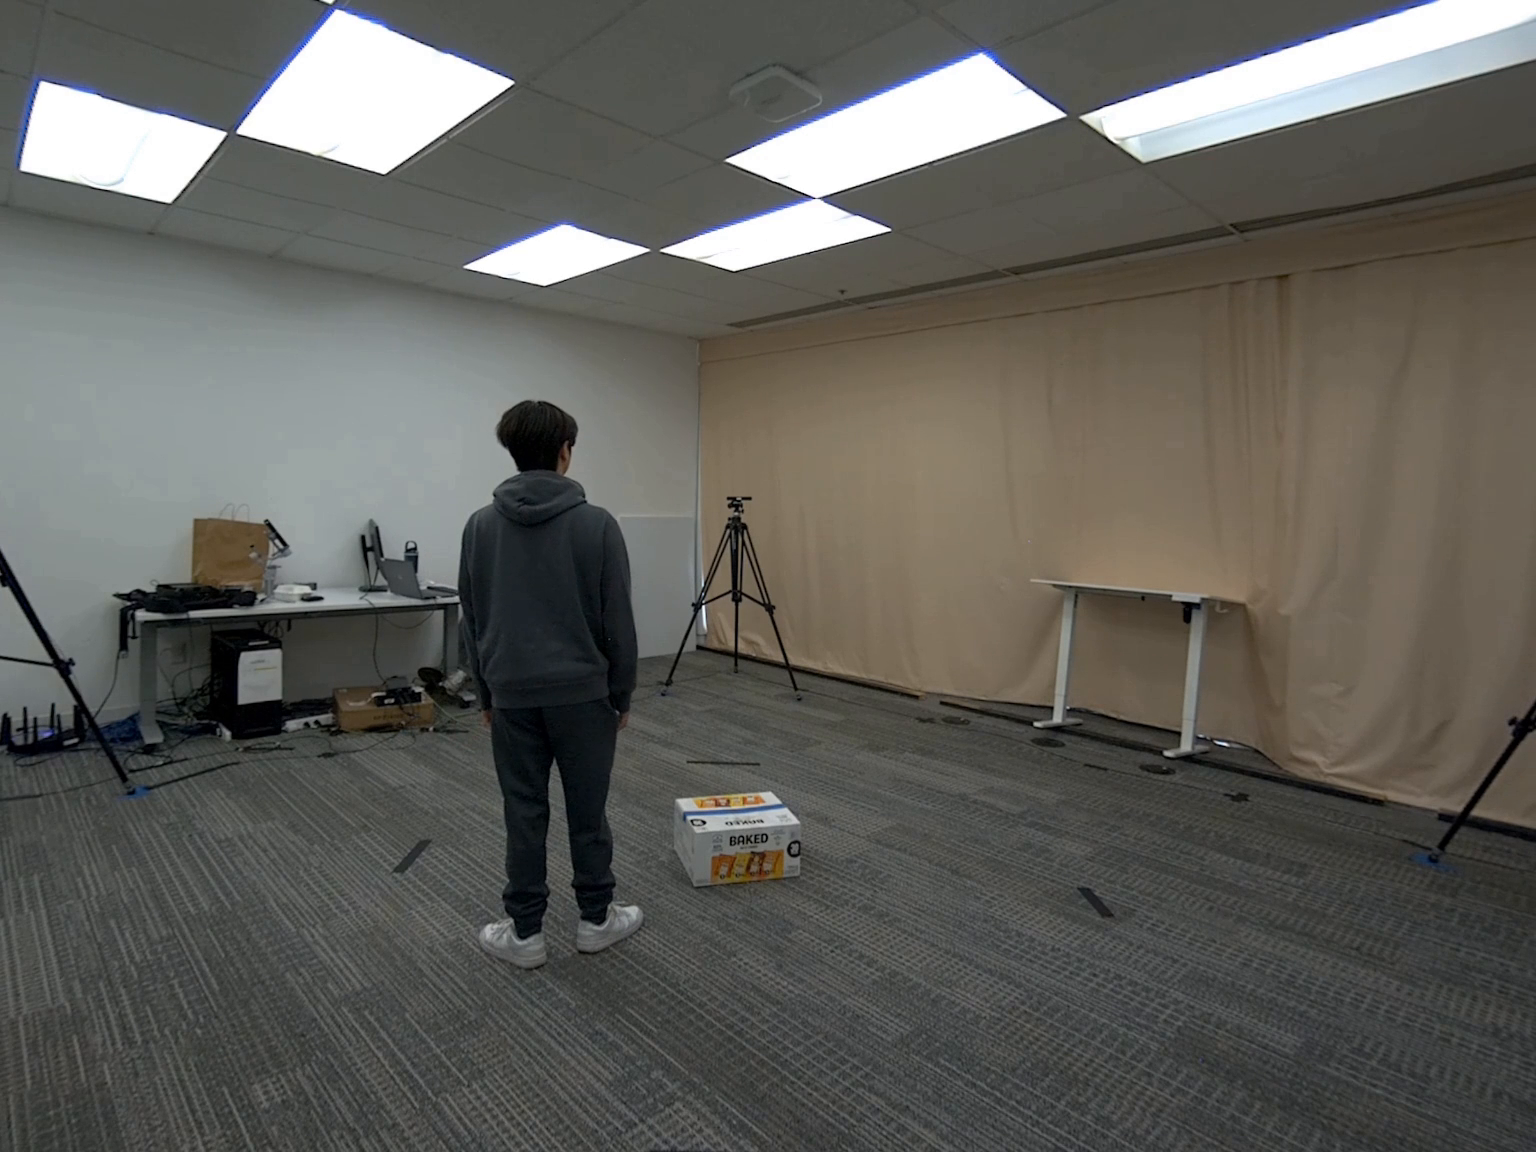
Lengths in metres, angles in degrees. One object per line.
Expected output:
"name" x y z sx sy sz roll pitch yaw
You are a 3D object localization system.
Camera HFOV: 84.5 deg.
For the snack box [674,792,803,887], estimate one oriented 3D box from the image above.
"snack box" -0.131 0.995 3.207 0.400 0.205 0.346 0 4 -18
